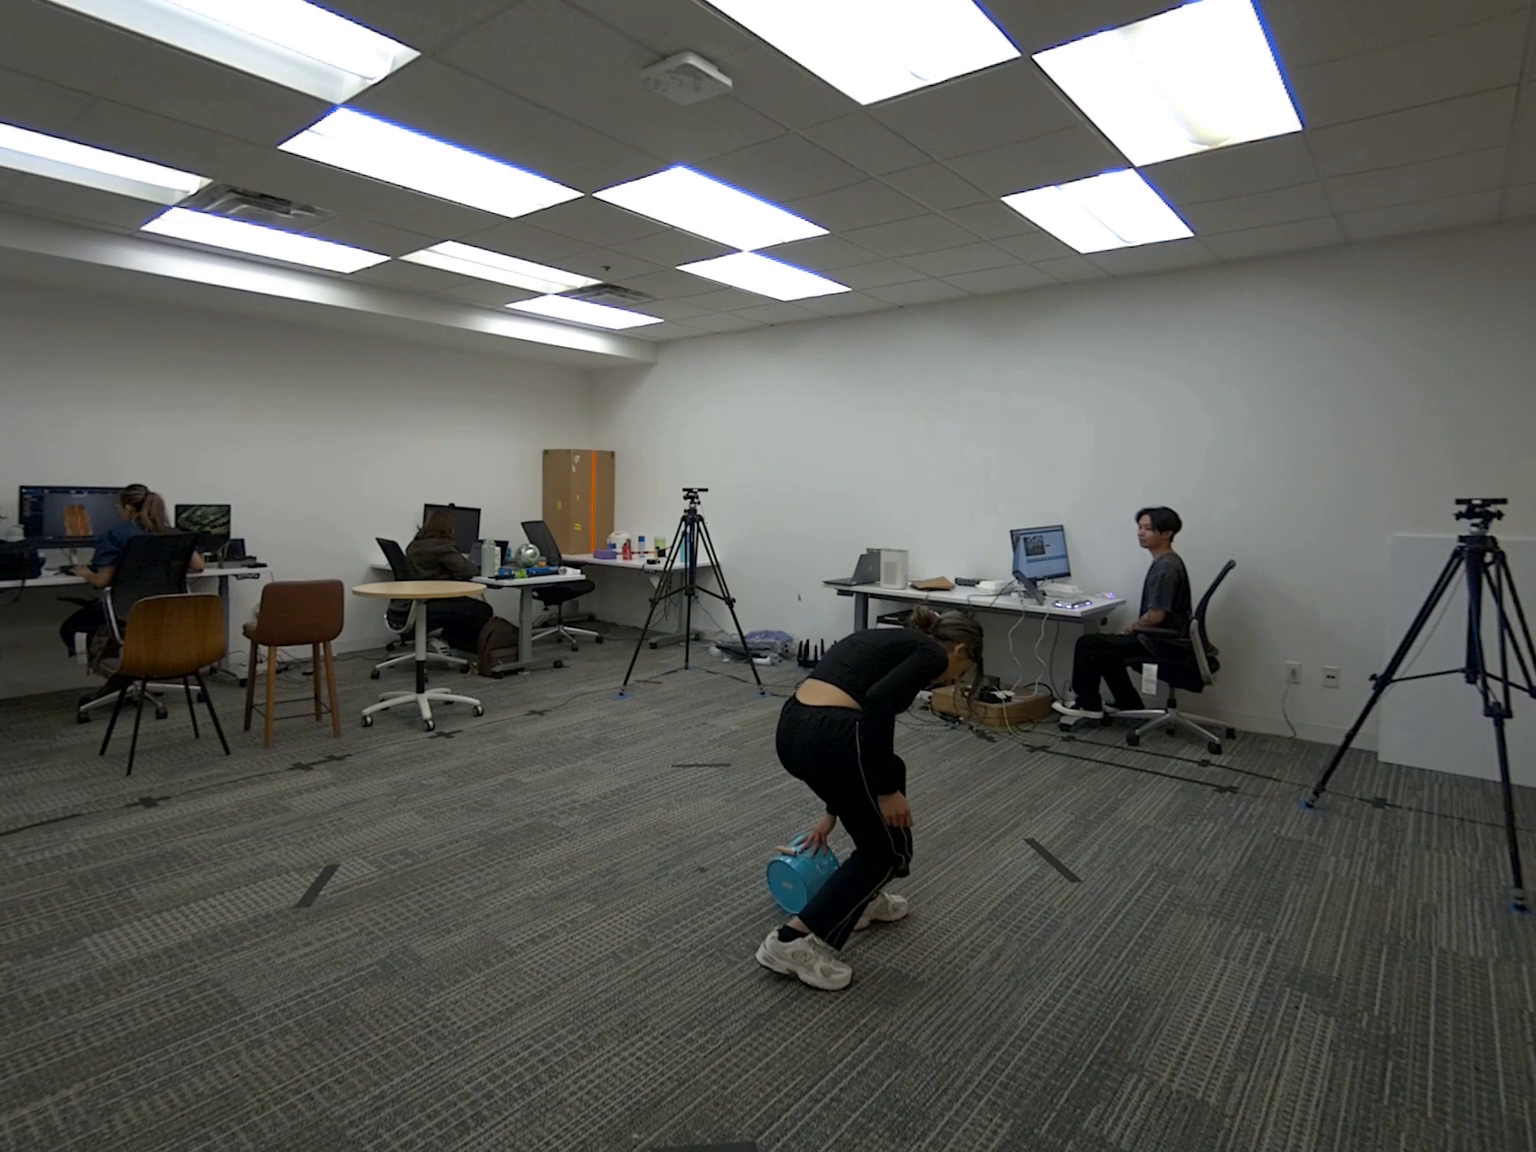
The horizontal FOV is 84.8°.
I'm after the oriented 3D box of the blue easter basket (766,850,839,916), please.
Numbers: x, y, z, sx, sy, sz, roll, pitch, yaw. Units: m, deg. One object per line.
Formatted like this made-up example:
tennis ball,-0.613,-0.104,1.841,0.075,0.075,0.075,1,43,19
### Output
blue easter basket,0.105,0.993,2.852,0.152,0.241,0.252,-13,12,-42
